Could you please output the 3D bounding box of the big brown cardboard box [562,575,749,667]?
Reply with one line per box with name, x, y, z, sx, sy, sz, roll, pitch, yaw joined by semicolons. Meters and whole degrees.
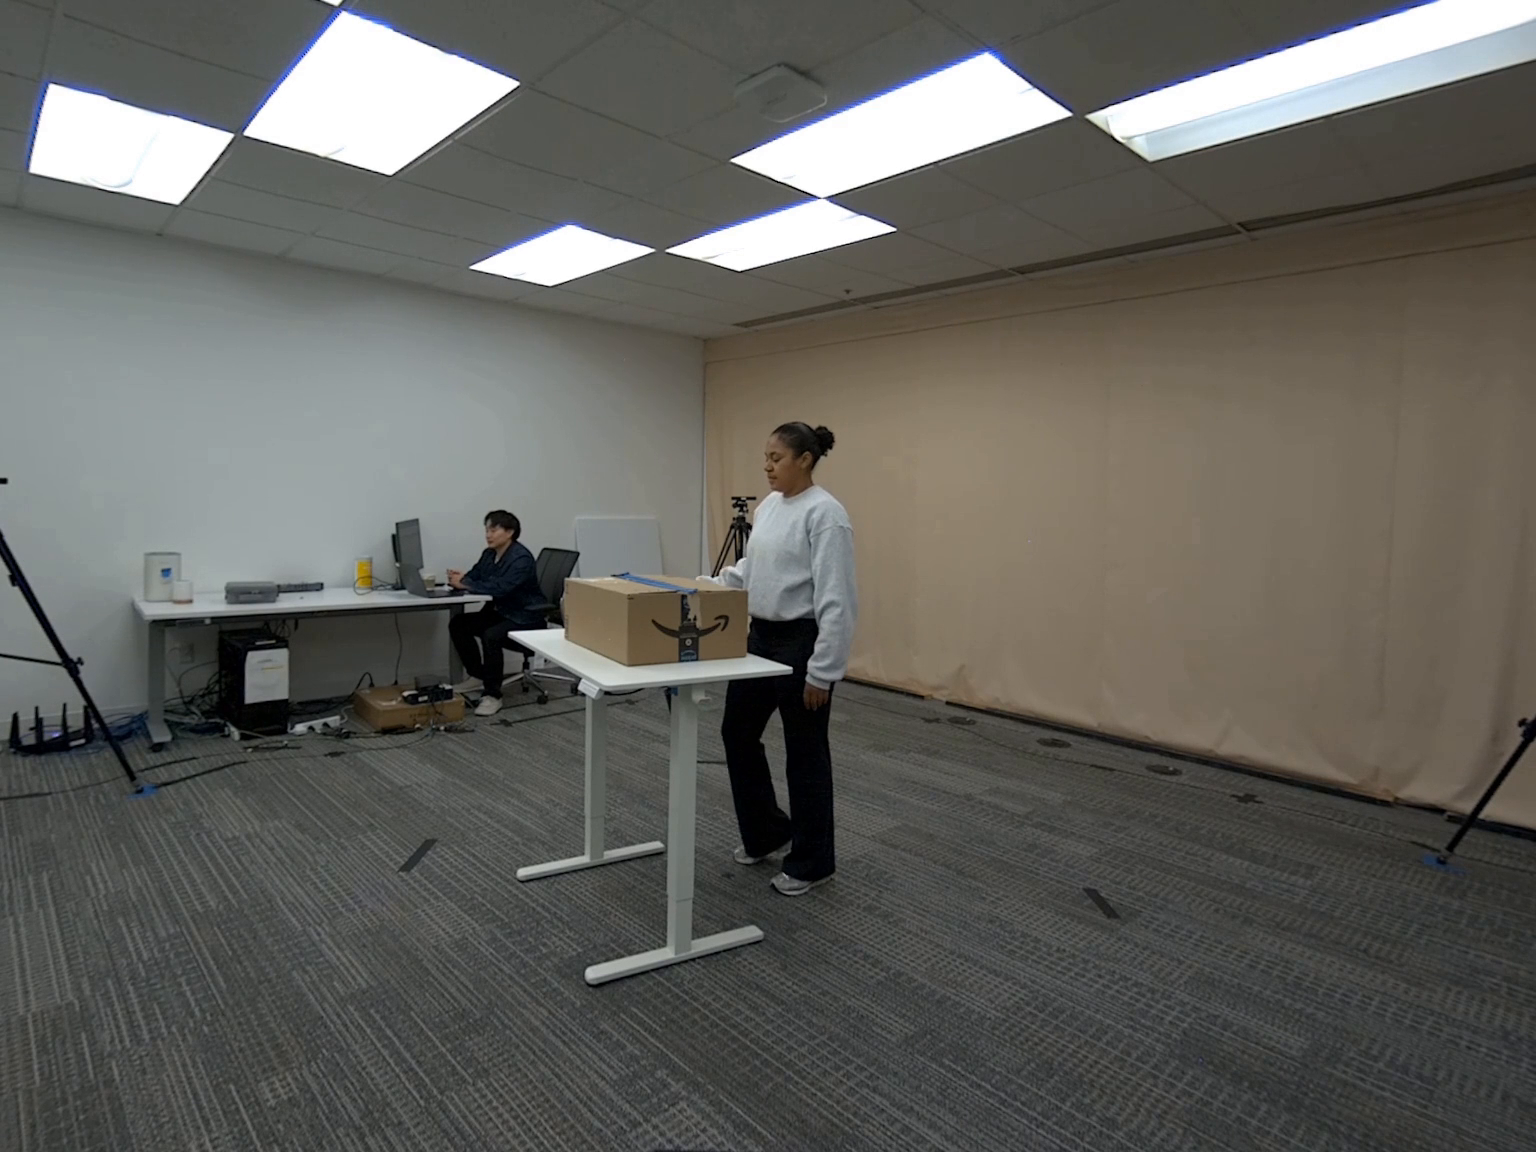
big brown cardboard box;-0.396;0.133;2.832;0.409;0.232;0.603;-1;6;-32
